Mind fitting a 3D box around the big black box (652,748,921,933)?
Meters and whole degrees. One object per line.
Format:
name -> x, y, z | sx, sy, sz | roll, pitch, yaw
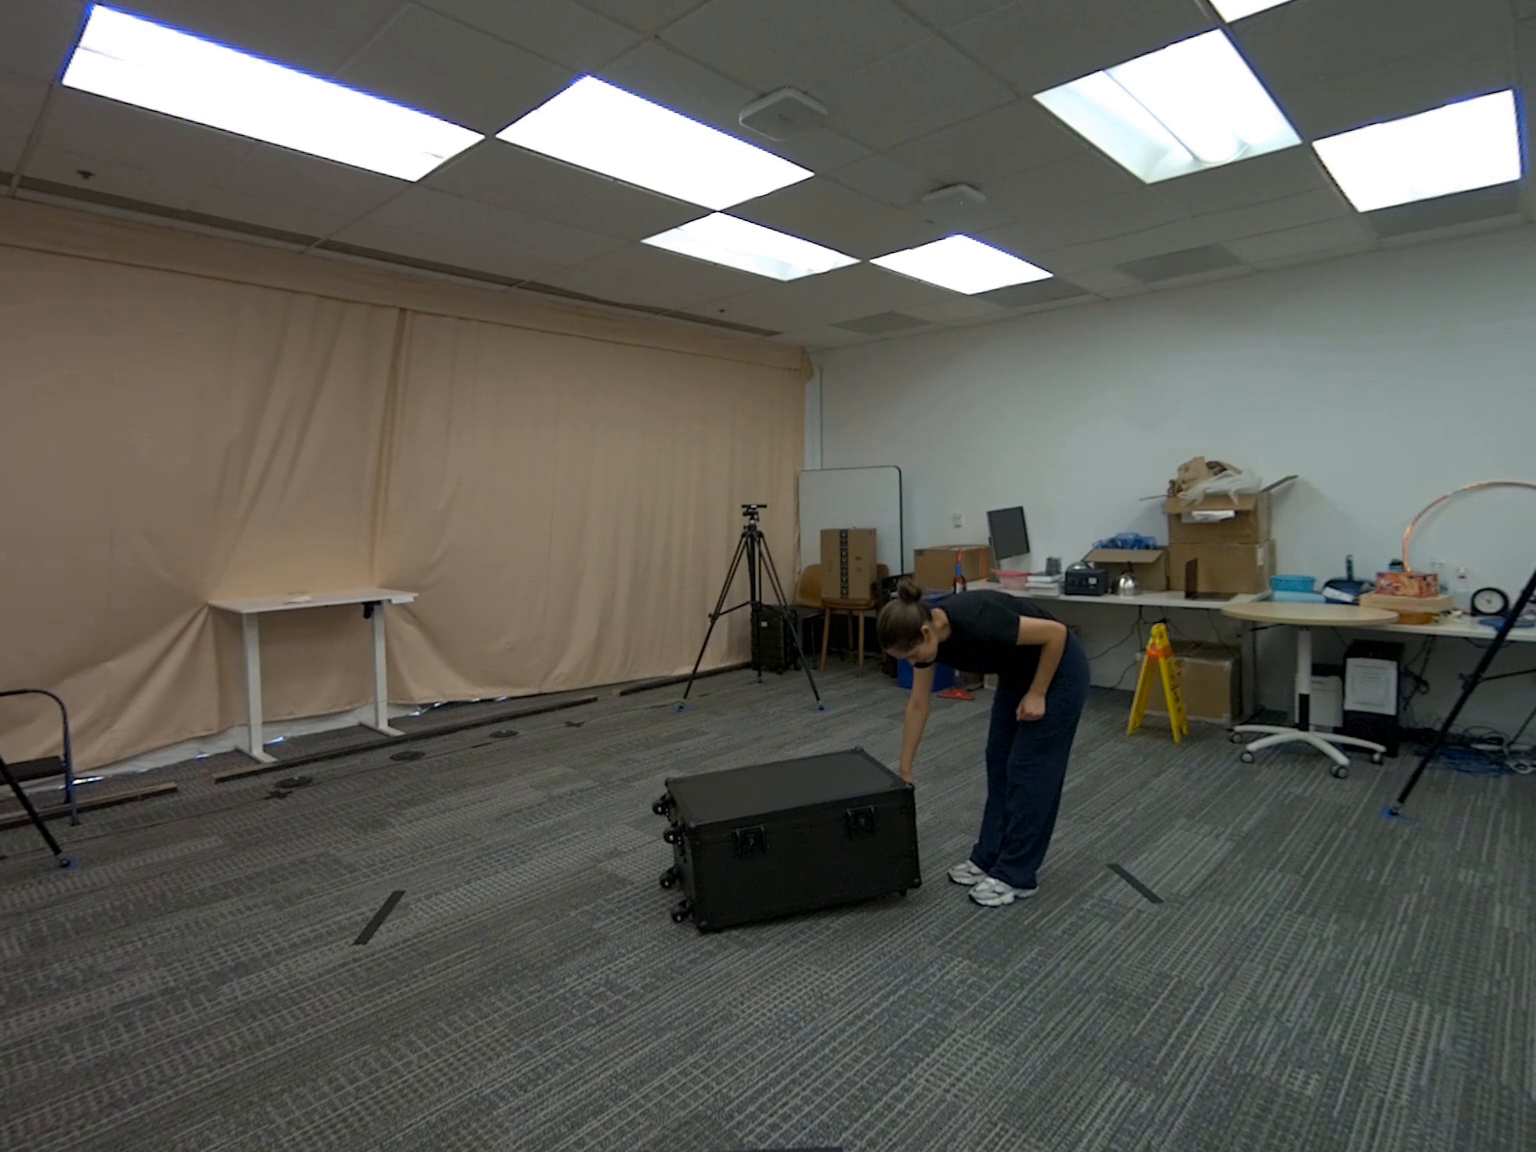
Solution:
big black box -> 0.055, 0.925, 3.015 | 0.850, 0.395, 0.530 | -6, 5, -14
